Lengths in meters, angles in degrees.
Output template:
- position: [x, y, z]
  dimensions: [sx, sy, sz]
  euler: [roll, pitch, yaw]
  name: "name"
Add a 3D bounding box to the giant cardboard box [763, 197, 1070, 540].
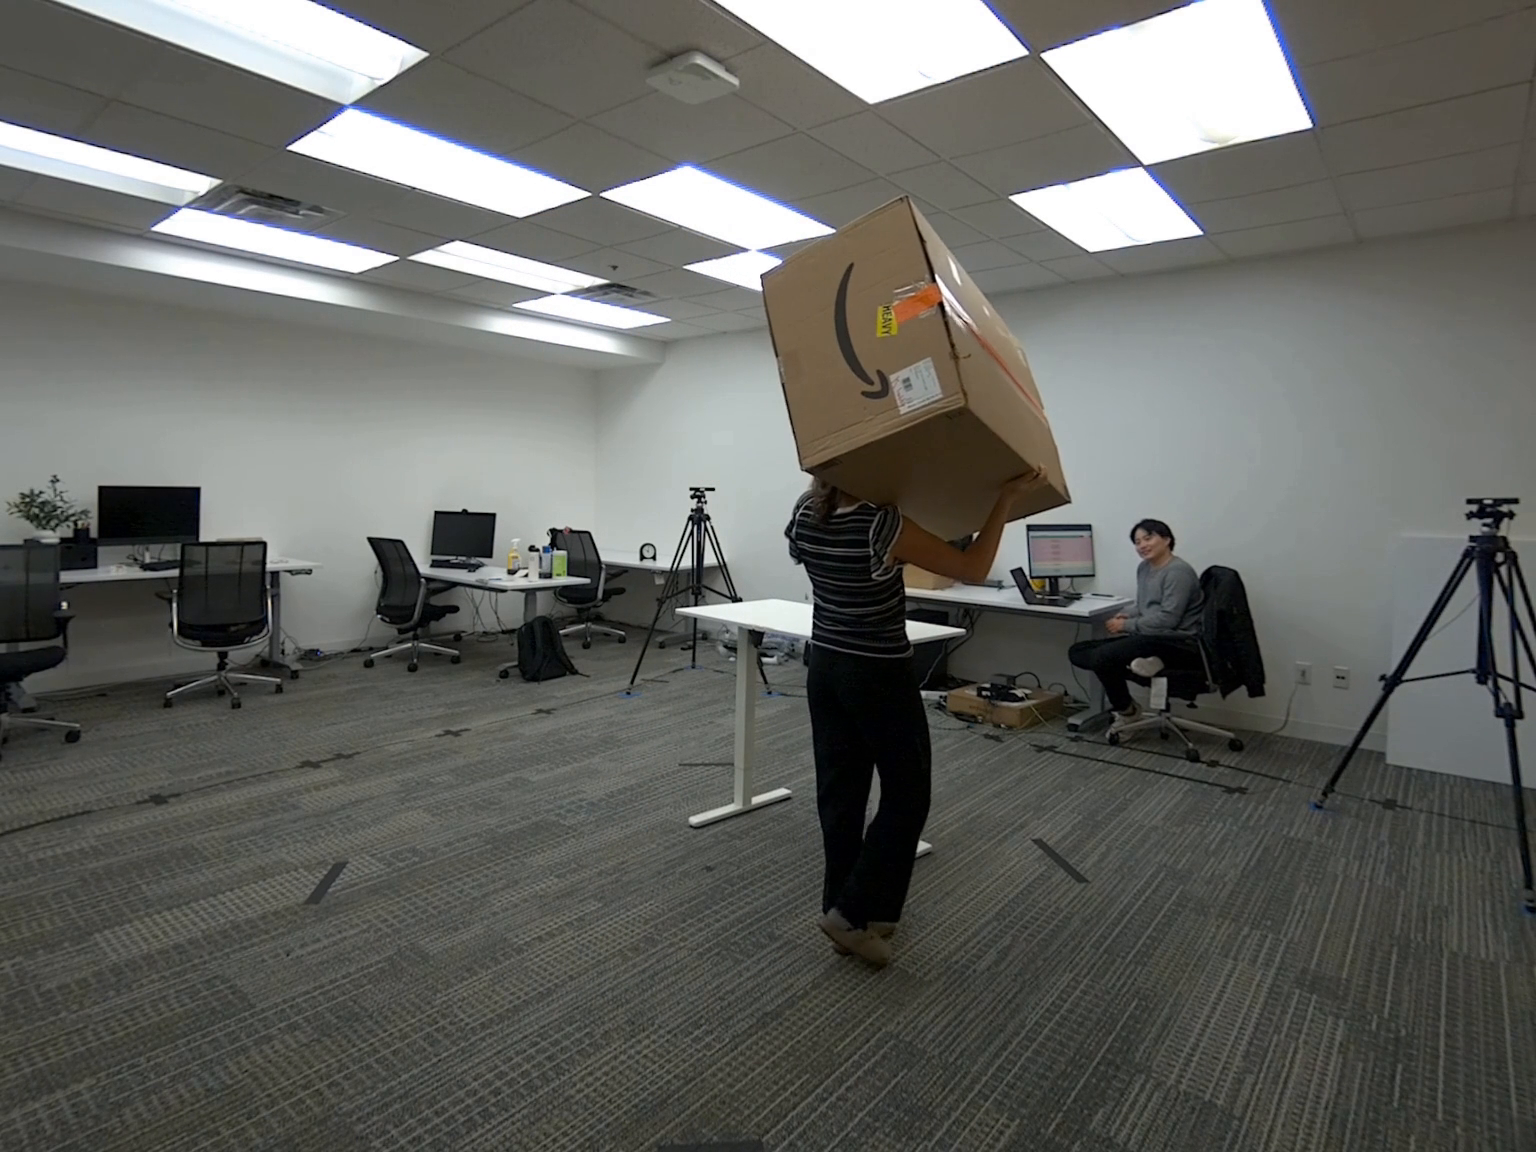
- position: [0.456, -0.509, 2.453]
  dimensions: [0.433, 0.589, 0.989]
  euler: [-21, -19, 28]
  name: "giant cardboard box"
